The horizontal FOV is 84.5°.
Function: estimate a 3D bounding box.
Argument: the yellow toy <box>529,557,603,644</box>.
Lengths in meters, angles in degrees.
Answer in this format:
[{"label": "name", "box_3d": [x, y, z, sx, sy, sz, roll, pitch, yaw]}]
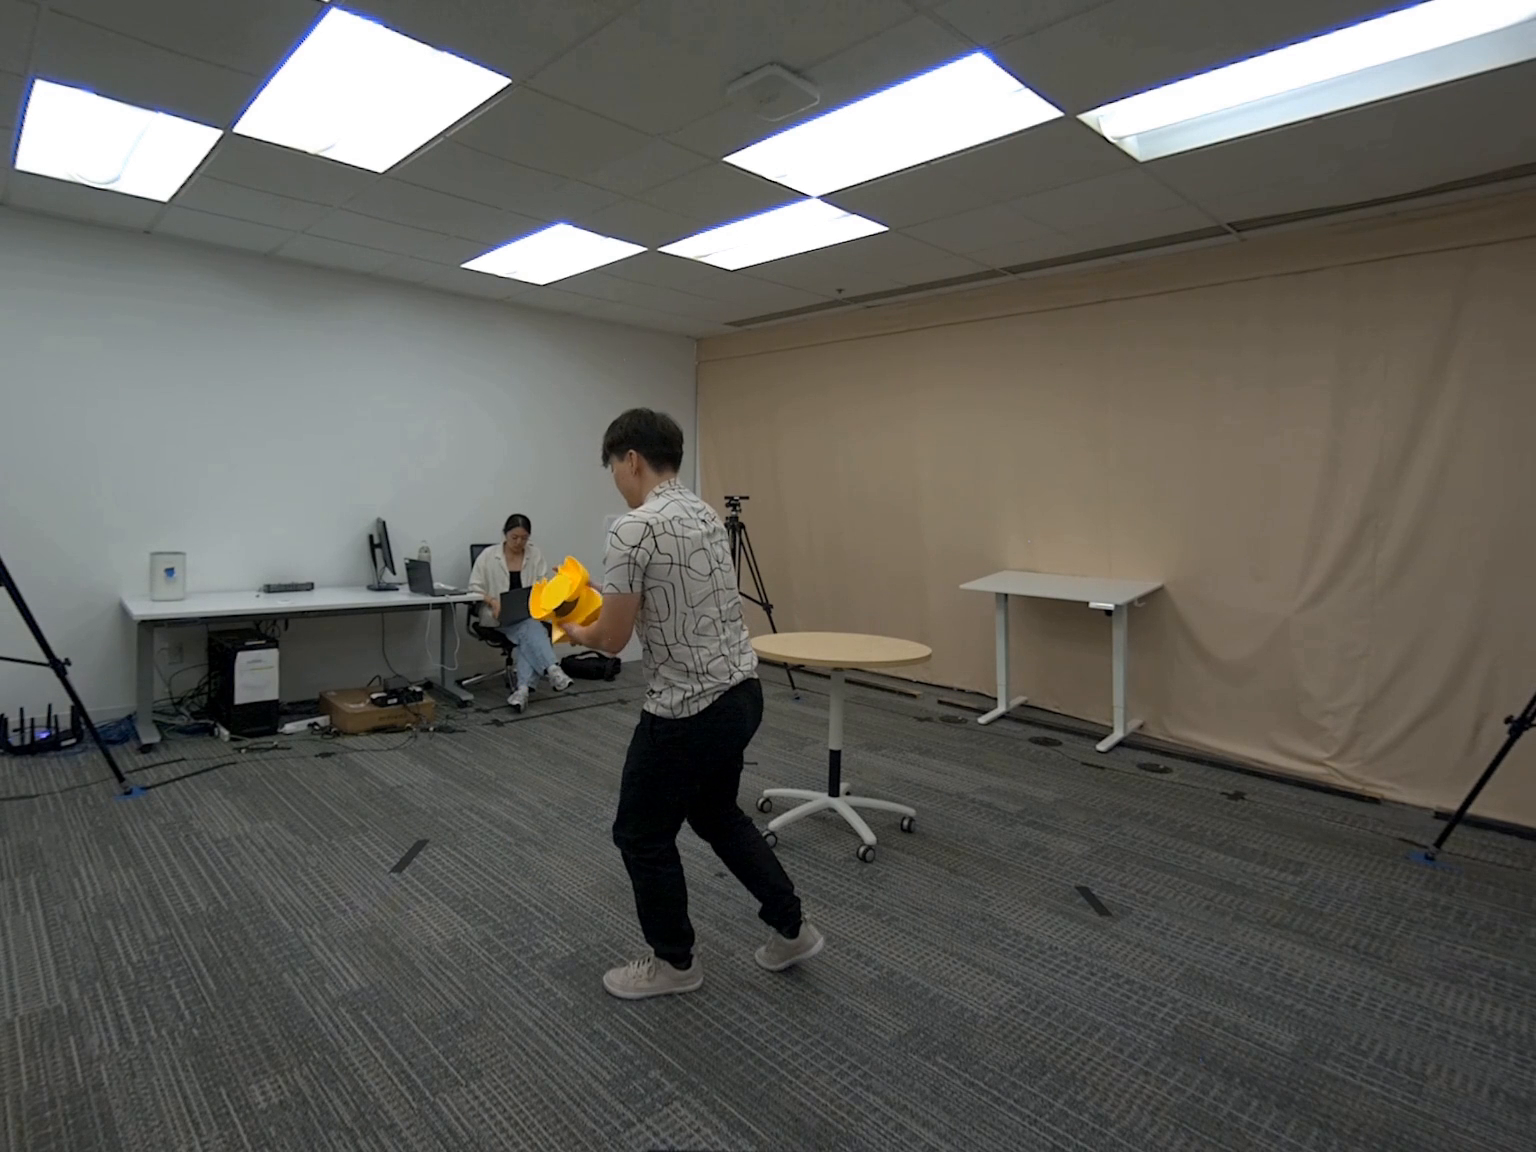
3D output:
[{"label": "yellow toy", "box_3d": [-0.562, 0.096, 2.521, 0.223, 0.205, 0.199, 42, 15, -42]}]
